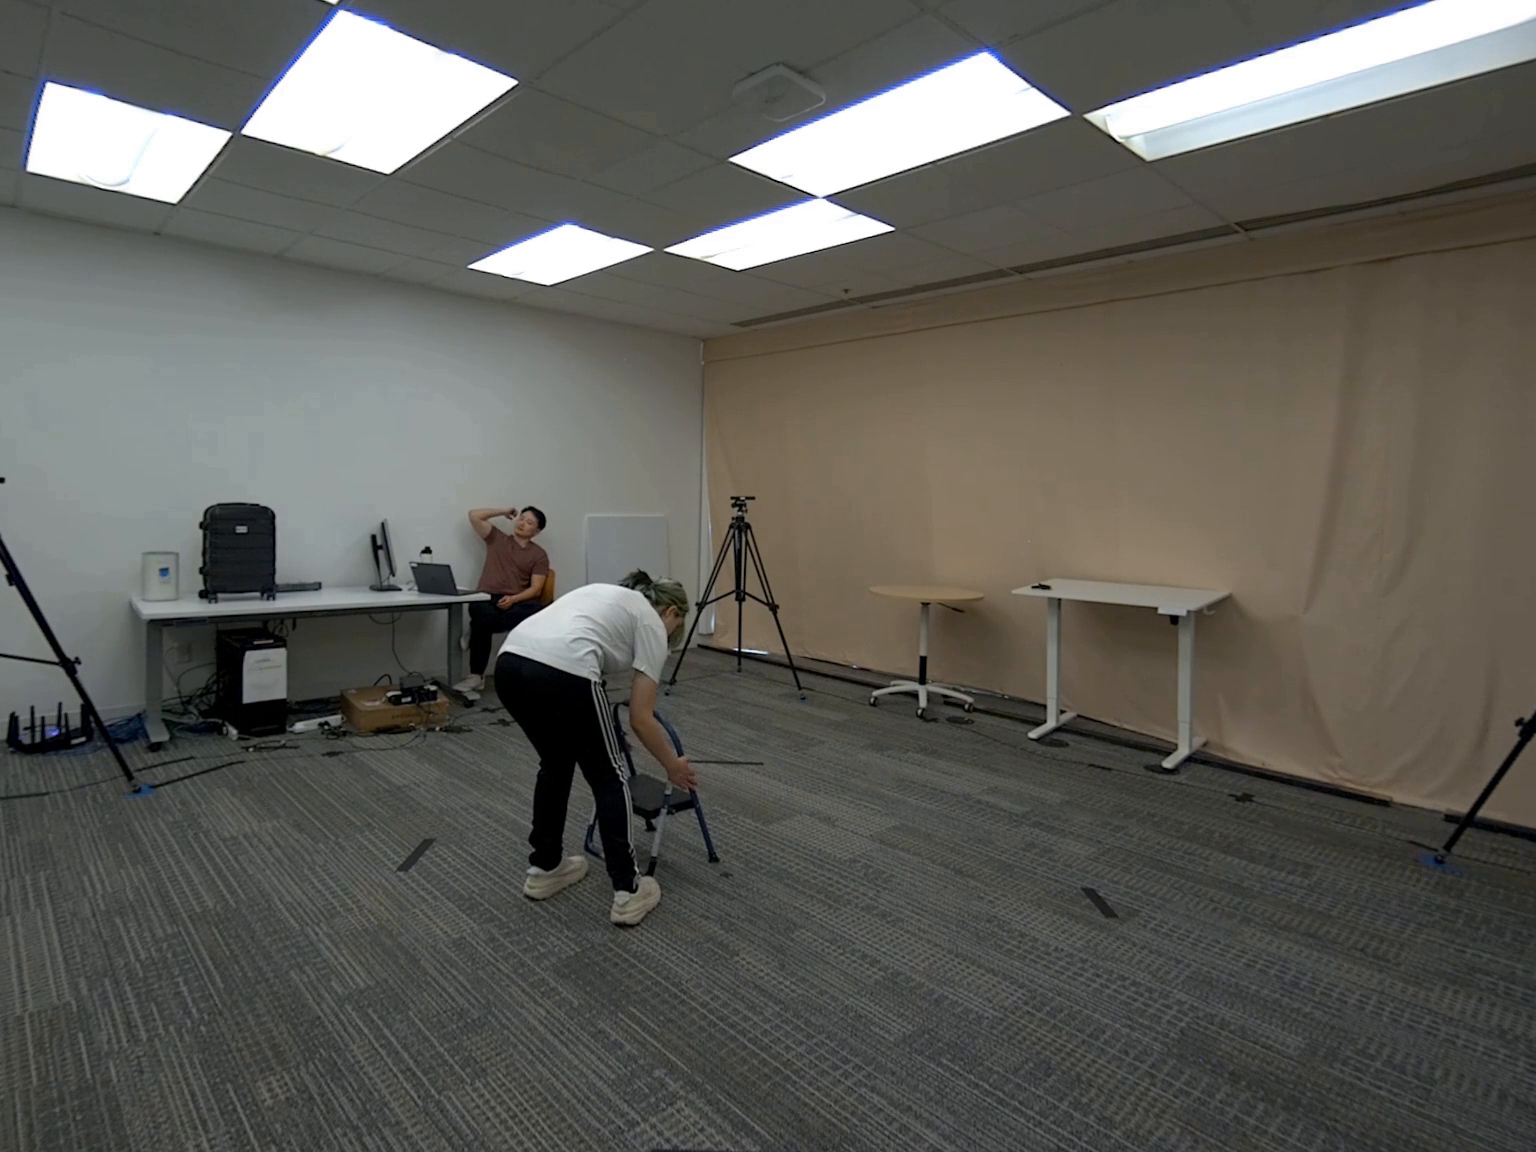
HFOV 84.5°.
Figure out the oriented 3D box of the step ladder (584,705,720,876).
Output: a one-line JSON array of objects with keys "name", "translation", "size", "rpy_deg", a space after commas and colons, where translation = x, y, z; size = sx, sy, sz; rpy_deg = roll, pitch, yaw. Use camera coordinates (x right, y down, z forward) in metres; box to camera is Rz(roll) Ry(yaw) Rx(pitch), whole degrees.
[{"name": "step ladder", "translation": [-0.454, 0.780, 3.244], "size": [0.341, 0.605, 0.441], "rpy_deg": [-1, 4, -45]}]
